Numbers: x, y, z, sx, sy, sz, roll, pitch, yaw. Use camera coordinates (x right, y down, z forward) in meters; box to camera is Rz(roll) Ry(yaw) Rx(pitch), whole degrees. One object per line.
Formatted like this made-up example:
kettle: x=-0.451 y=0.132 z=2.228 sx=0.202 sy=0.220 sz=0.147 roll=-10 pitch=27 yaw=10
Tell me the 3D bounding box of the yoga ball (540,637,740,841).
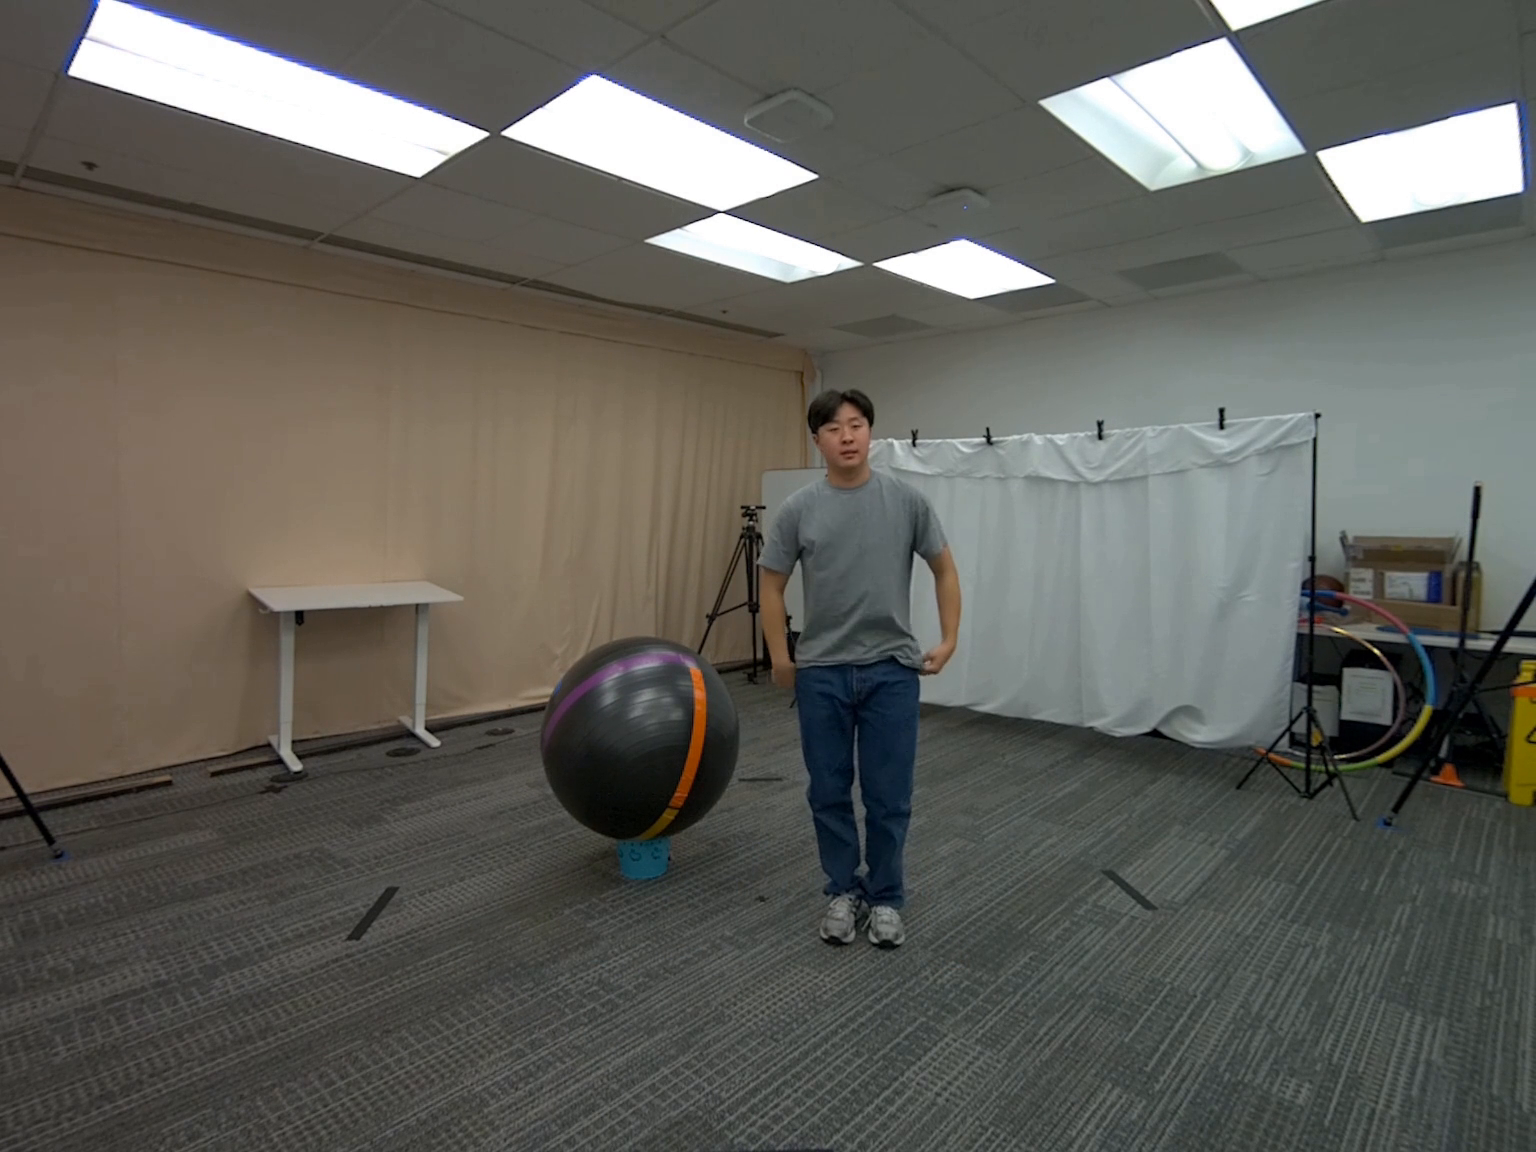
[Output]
yoga ball: x=-0.487 y=0.615 z=3.214 sx=0.757 sy=0.756 sz=0.760 roll=0 pitch=4 yaw=-2
